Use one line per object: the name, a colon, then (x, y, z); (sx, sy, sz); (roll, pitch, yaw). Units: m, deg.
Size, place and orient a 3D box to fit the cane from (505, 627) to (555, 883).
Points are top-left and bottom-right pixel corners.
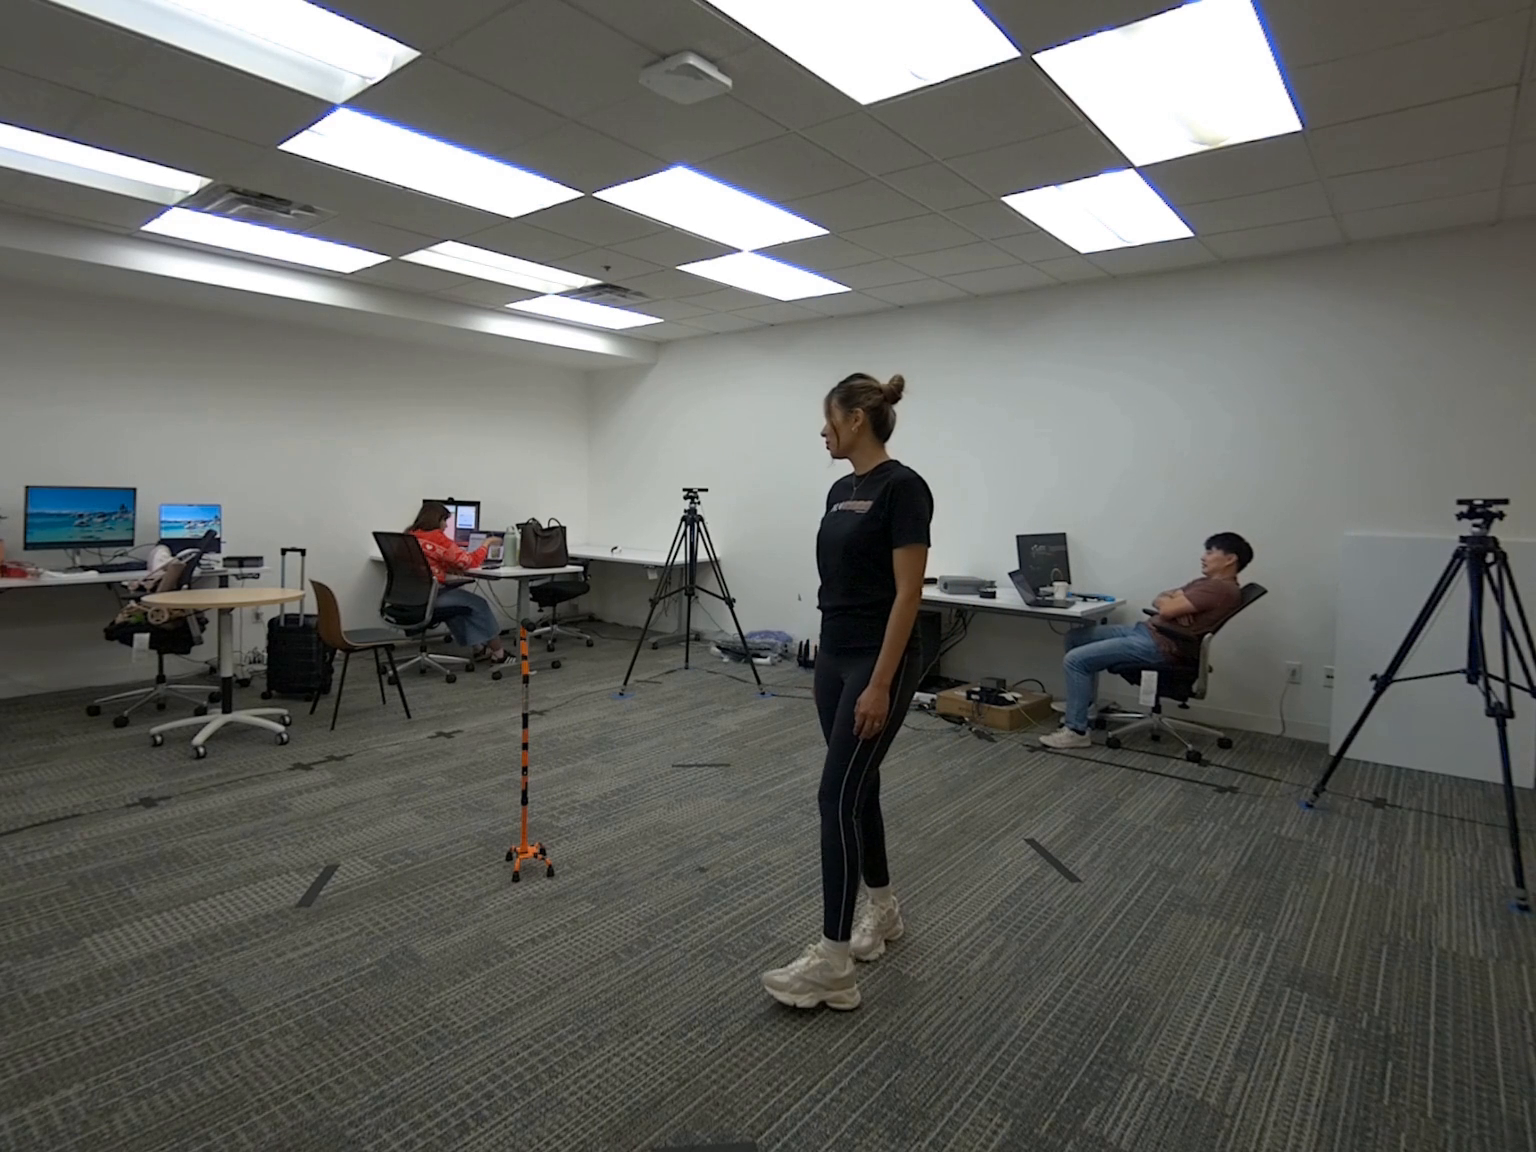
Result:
cane: (-0.873, 0.609, 3.070); (0.148, 0.905, 0.211); (0, 3, -22)
